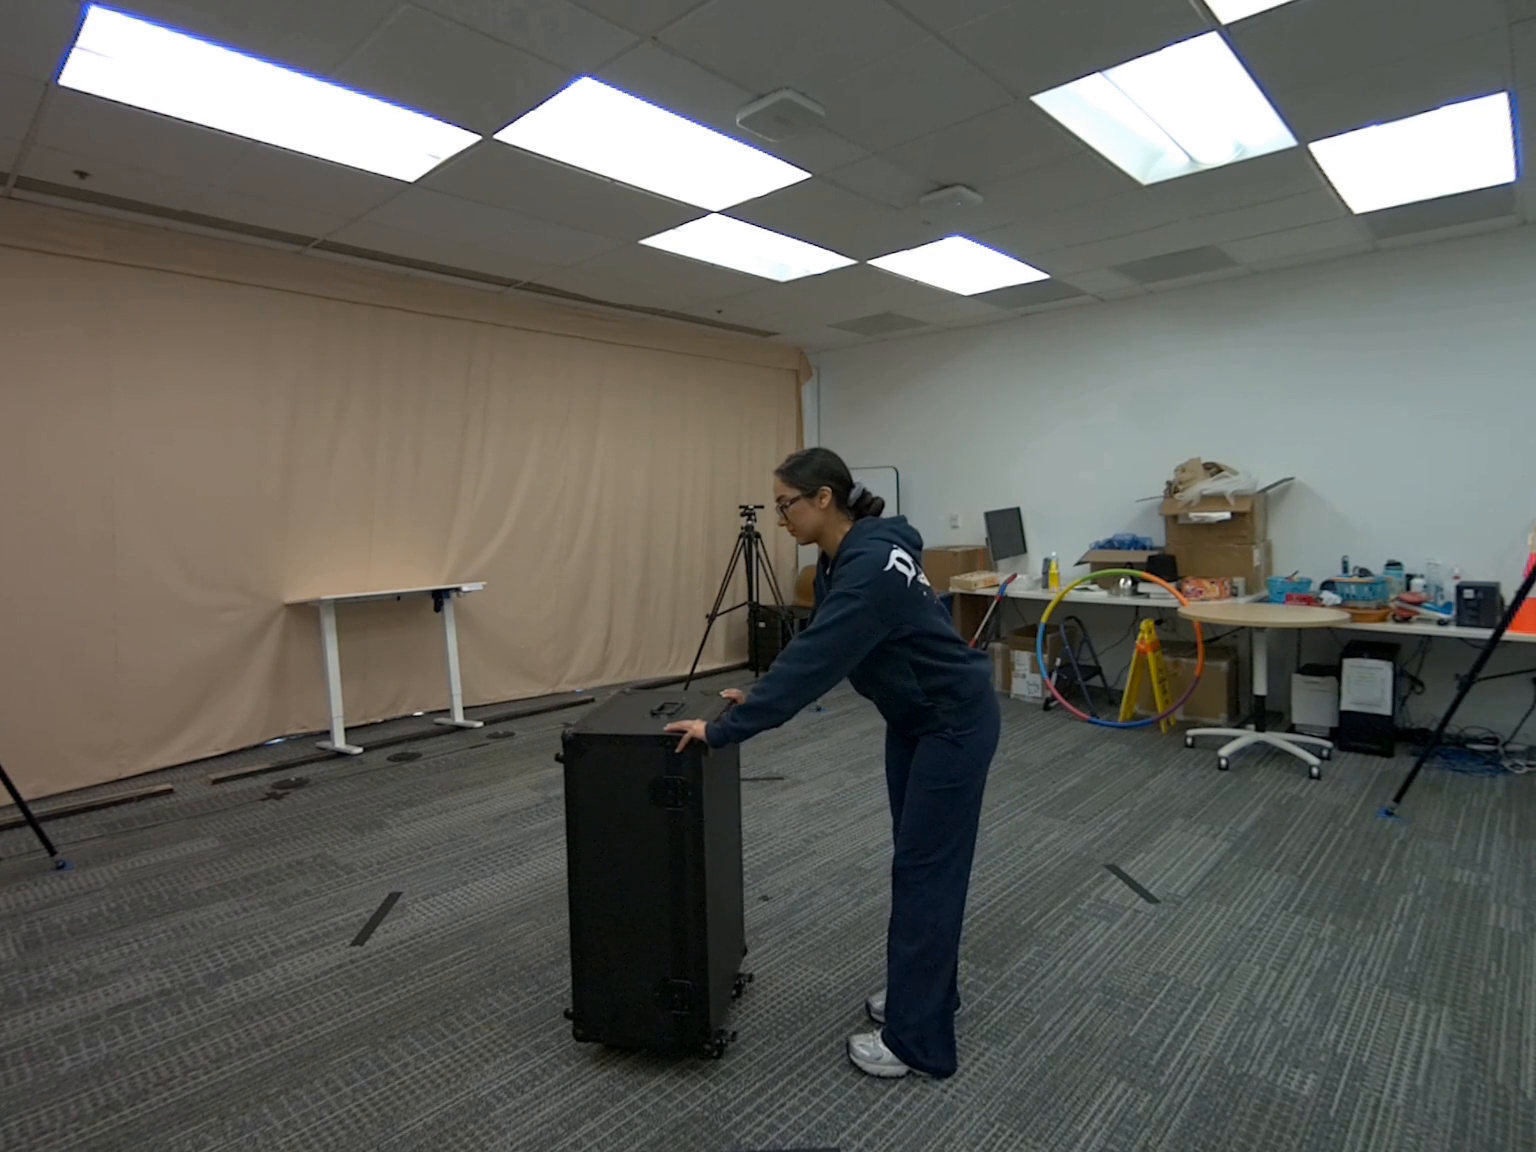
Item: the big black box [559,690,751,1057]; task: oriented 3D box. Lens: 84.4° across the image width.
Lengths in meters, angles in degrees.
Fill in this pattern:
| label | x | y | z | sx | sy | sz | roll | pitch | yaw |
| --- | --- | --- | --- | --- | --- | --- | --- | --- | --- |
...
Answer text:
| label | x | y | z | sx | sy | sz | roll | pitch | yaw |
| --- | --- | --- | --- | --- | --- | --- | --- | --- | --- |
| big black box | -0.296 | 0.785 | 2.271 | 0.401 | 0.860 | 0.515 | -1 | 2 | 11 |
